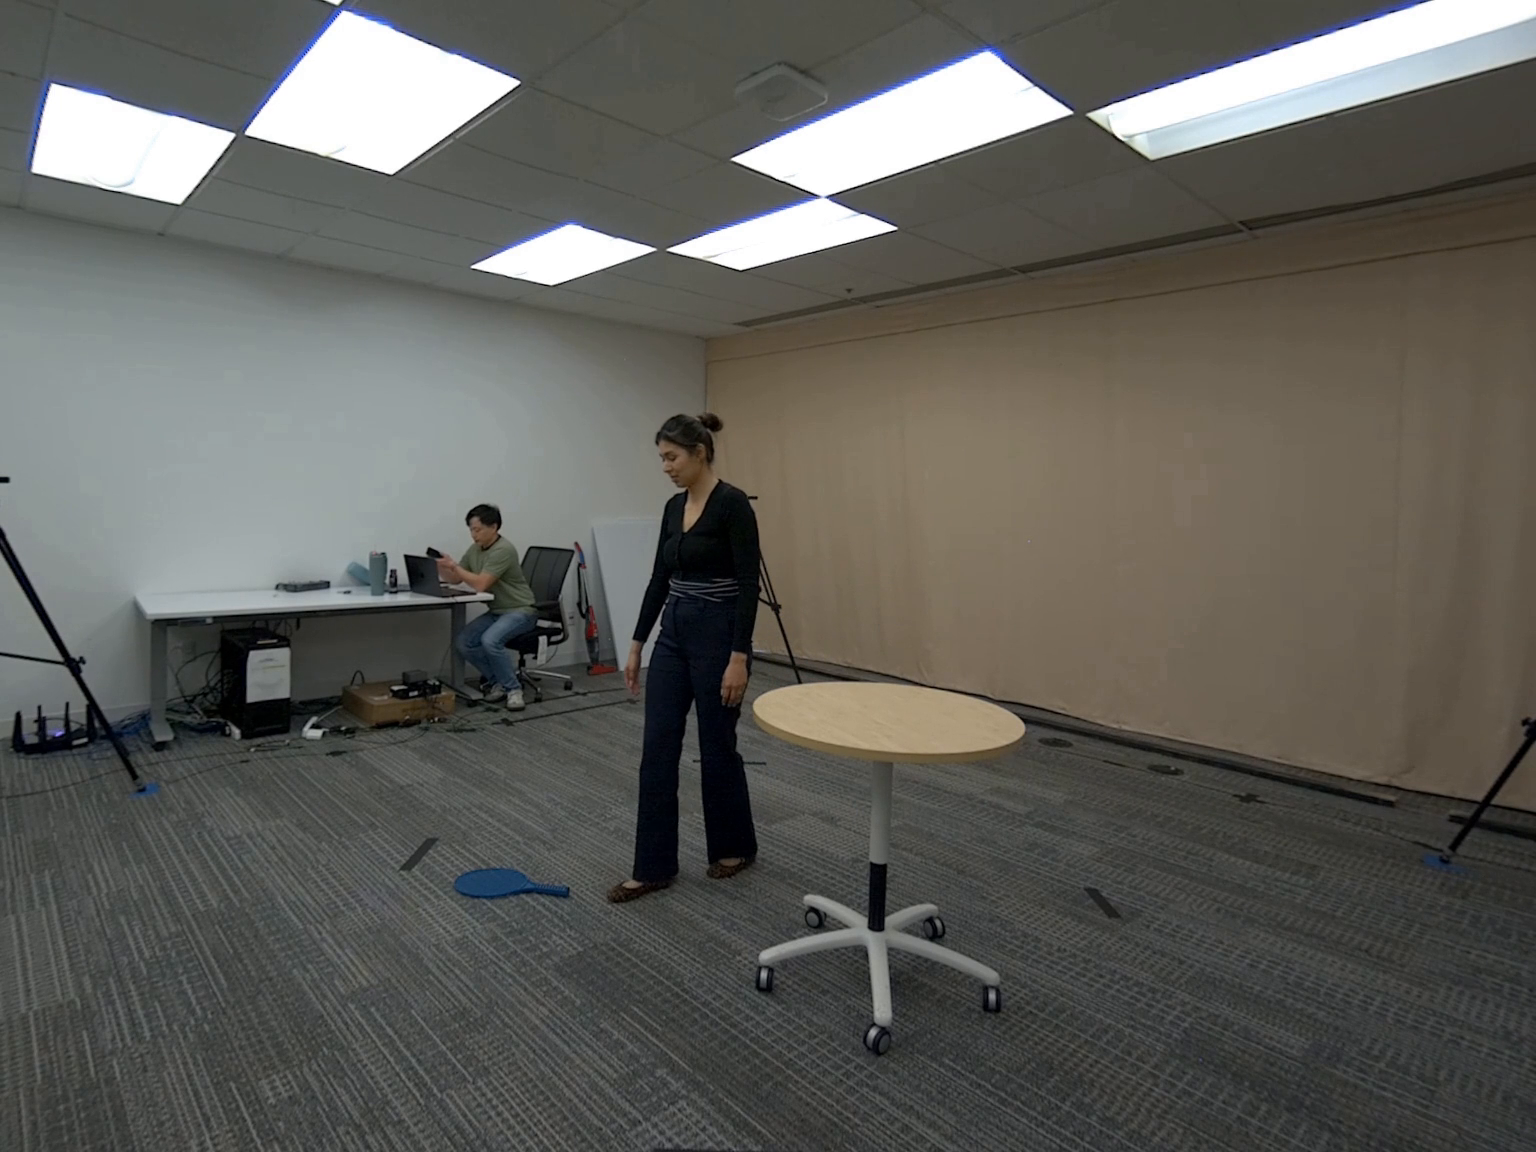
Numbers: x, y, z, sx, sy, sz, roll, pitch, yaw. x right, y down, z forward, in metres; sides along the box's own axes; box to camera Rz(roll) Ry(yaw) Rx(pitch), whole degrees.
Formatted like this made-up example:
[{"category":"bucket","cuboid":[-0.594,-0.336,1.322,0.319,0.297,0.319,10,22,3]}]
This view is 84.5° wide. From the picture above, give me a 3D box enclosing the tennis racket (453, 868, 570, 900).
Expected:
[{"category":"tennis racket","cuboid":[-0.896,1.084,2.960,0.438,0.031,0.212,1,6,13]}]
